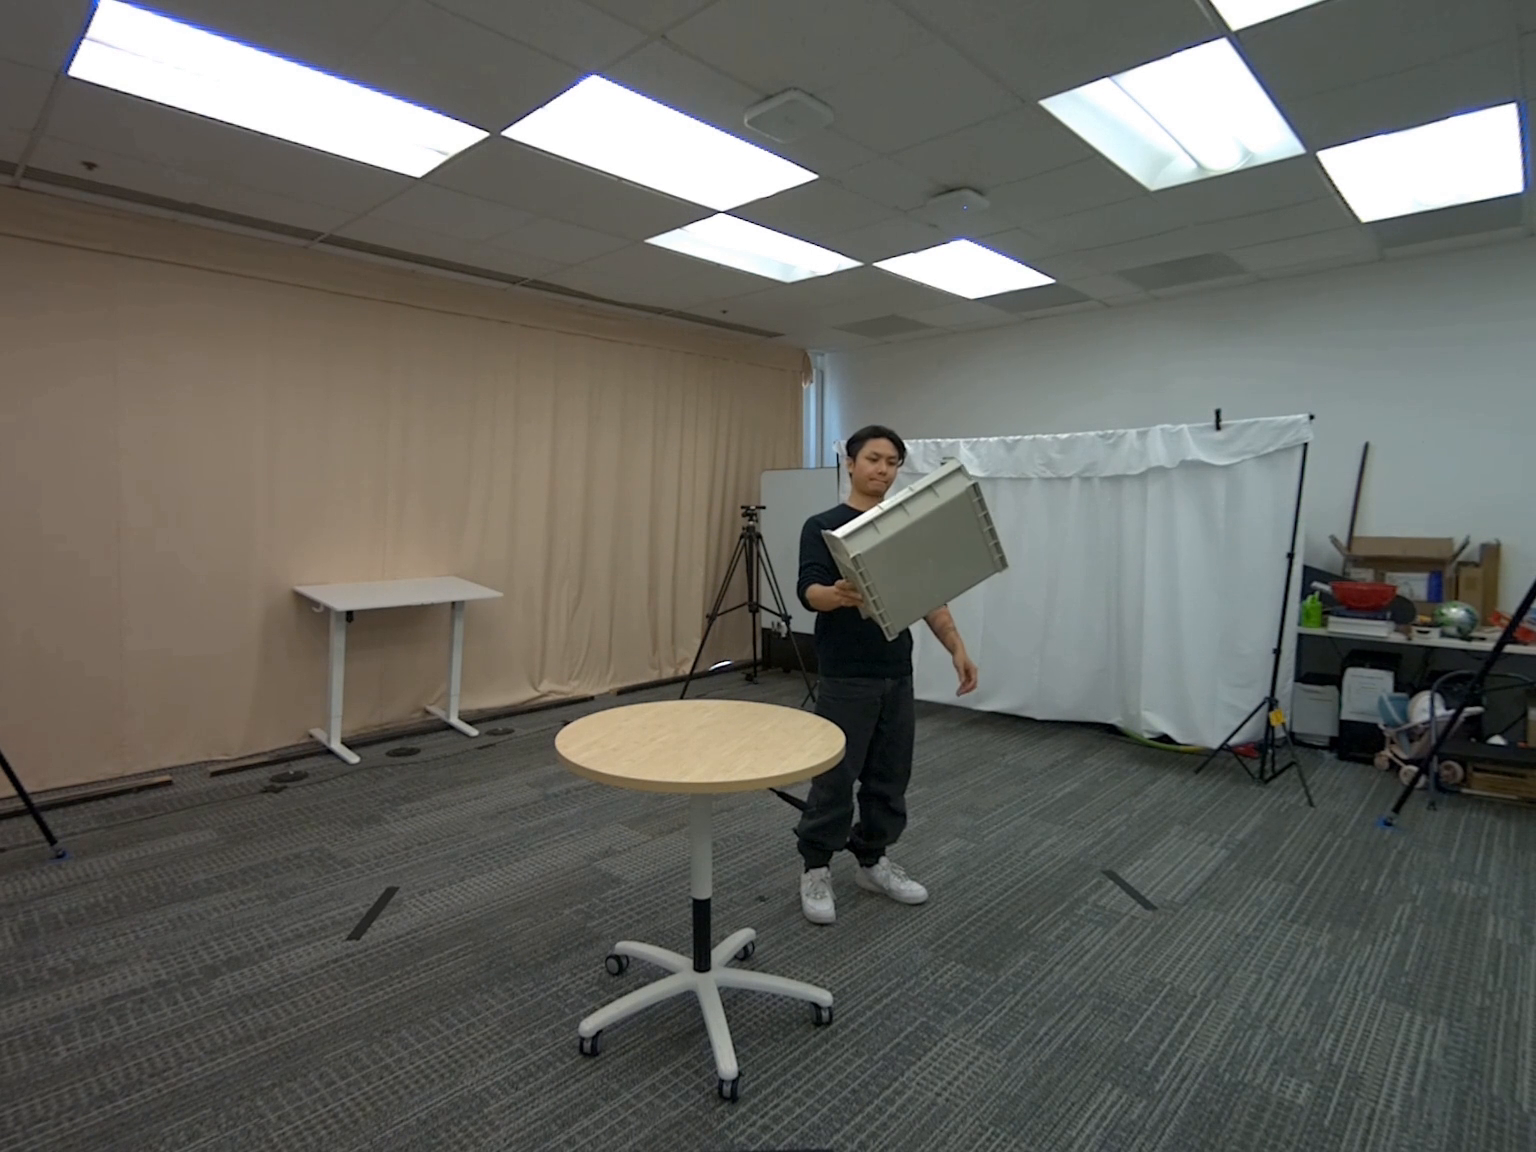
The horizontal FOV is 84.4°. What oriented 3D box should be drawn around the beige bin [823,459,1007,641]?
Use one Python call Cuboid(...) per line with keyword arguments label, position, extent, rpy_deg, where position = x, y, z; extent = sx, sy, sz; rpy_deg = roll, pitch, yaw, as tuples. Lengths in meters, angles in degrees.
Cuboid(label="beige bin", position=(0.423, -0.083, 2.423), extent=(0.421, 0.367, 0.194), rpy_deg=(-31, 28, -5))
